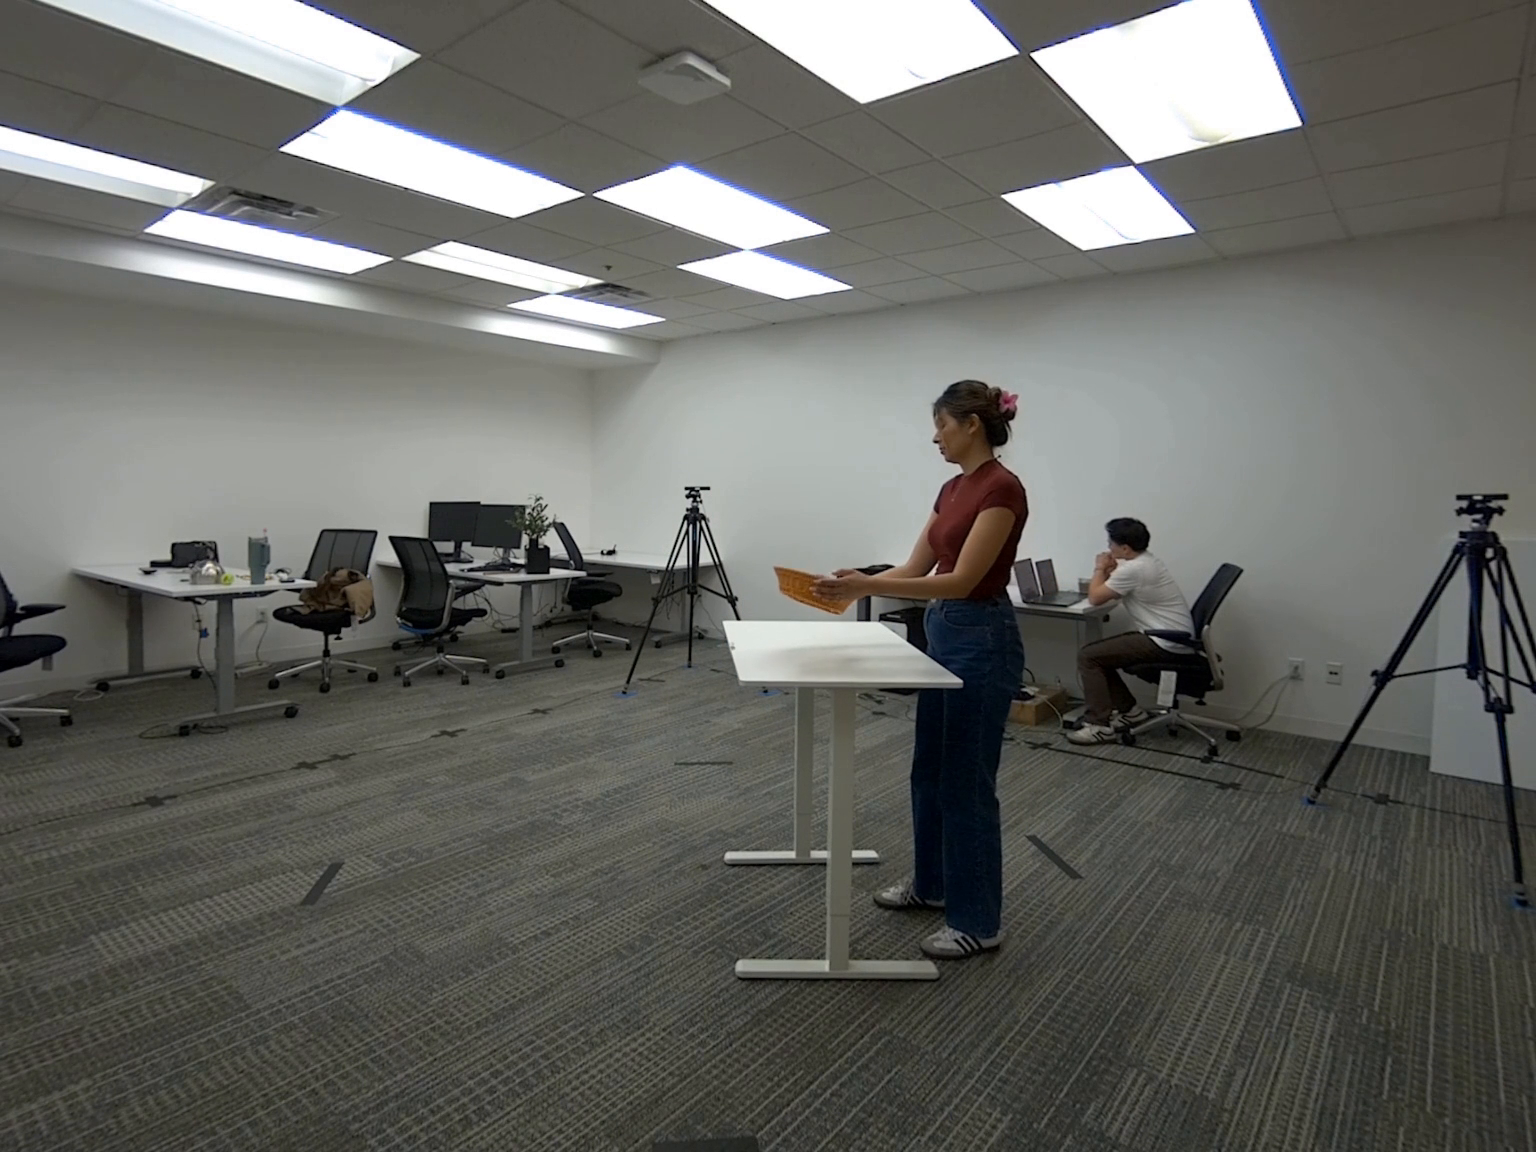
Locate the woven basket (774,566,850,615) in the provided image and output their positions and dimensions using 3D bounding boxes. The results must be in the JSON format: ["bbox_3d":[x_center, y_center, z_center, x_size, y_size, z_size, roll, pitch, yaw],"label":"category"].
[{"bbox_3d":[0.141,0.045,2.567,0.260,0.074,0.339,12,-5,25],"label":"woven basket"}]
